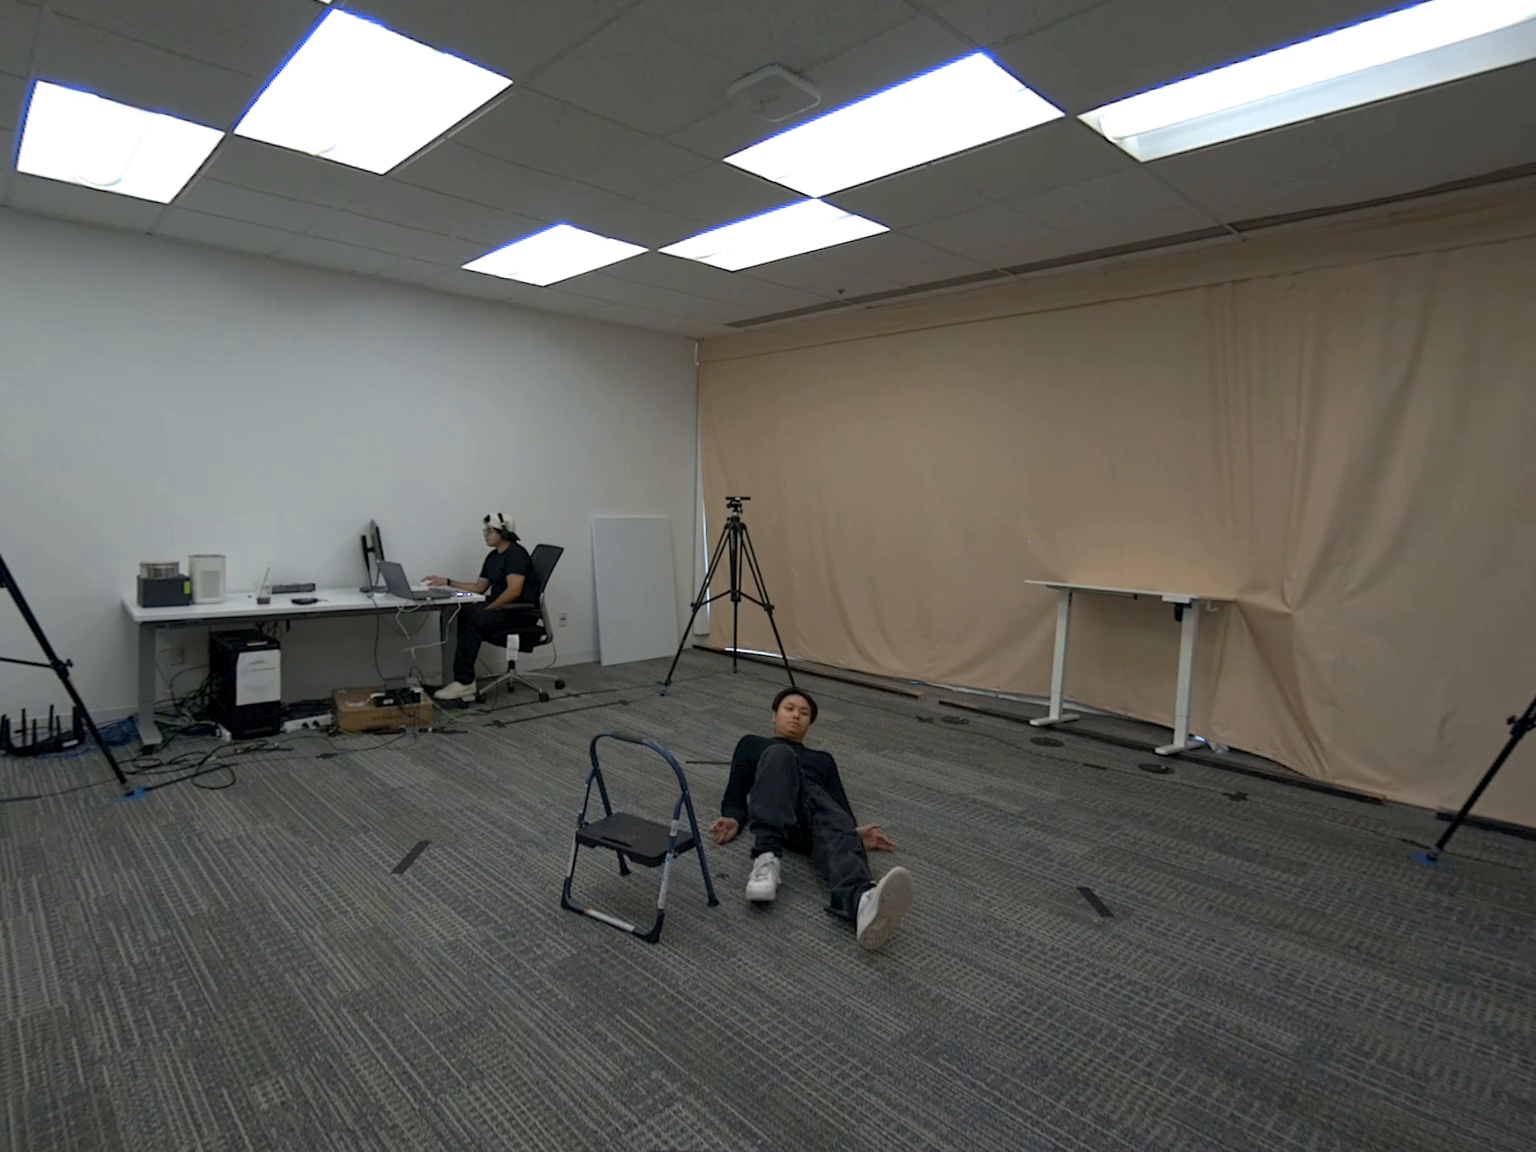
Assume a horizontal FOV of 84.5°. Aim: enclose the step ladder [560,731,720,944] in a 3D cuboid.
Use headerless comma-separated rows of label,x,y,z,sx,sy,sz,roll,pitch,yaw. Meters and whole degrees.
step ladder,-0.436,0.820,2.849,0.440,0.605,0.342,3,4,32
